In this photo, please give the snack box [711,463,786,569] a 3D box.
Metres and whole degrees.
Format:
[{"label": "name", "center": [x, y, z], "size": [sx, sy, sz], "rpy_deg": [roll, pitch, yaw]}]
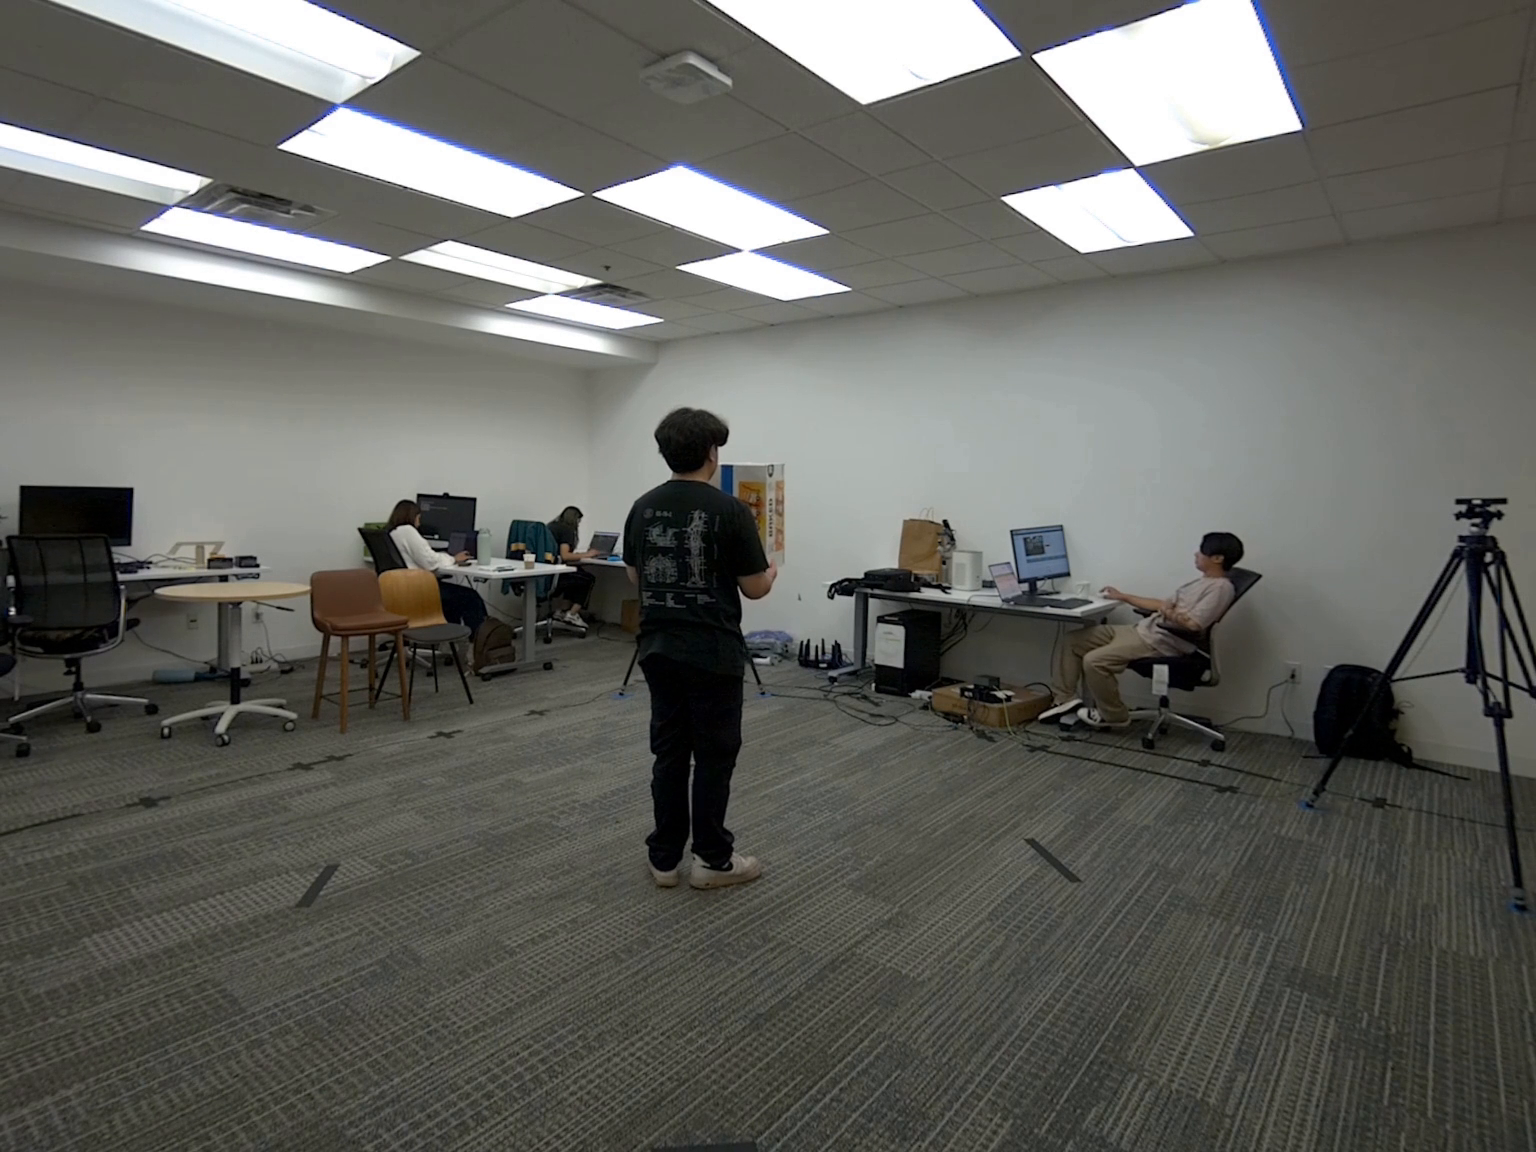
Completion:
[{"label": "snack box", "center": [-0.132, -0.243, 3.353], "size": [0.349, 0.402, 0.202], "rpy_deg": [4, 7, 23]}]
